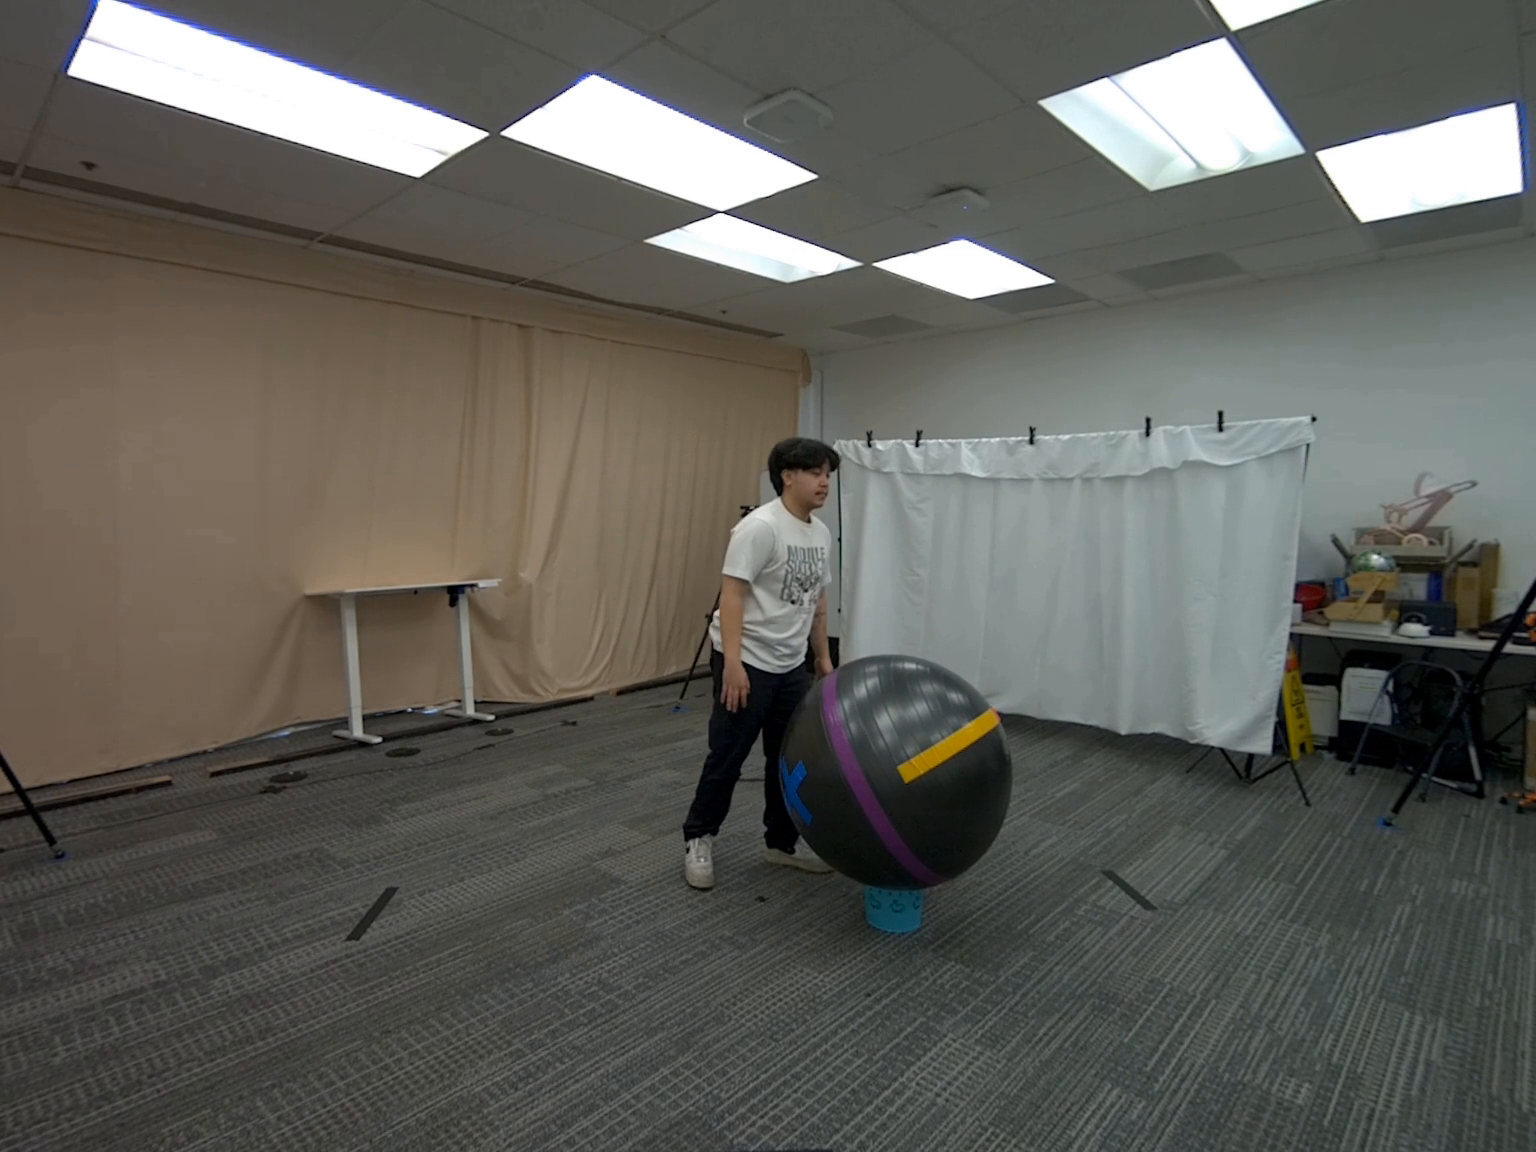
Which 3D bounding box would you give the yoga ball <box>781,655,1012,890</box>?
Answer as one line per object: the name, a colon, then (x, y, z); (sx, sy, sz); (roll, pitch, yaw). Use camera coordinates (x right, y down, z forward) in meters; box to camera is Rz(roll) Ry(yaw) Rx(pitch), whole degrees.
yoga ball: (0.424, 0.654, 2.807); (0.757, 0.756, 0.760); (0, 4, -2)
